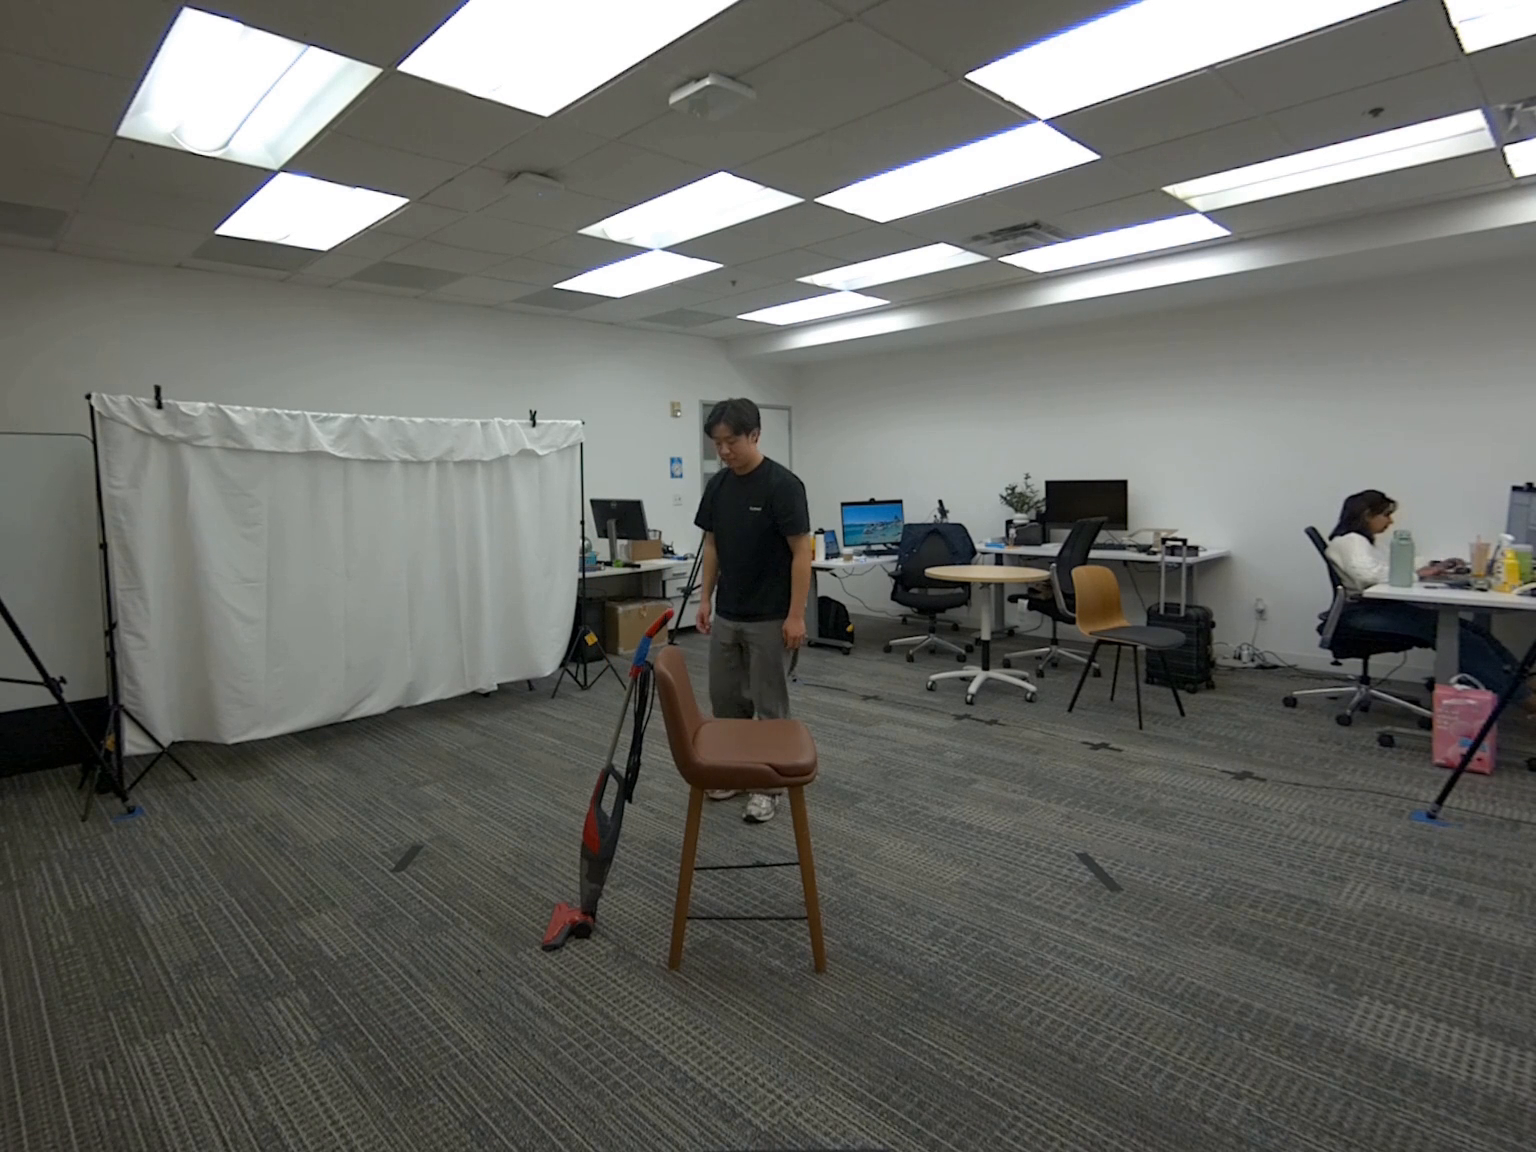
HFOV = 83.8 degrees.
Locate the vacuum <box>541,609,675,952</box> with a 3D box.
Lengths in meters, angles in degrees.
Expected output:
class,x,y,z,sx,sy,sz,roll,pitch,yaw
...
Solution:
class,x,y,z,sx,sy,sz,roll,pitch,yaw
vacuum,-0.468,0.606,2.661,0.142,1.048,0.256,16,2,-14
